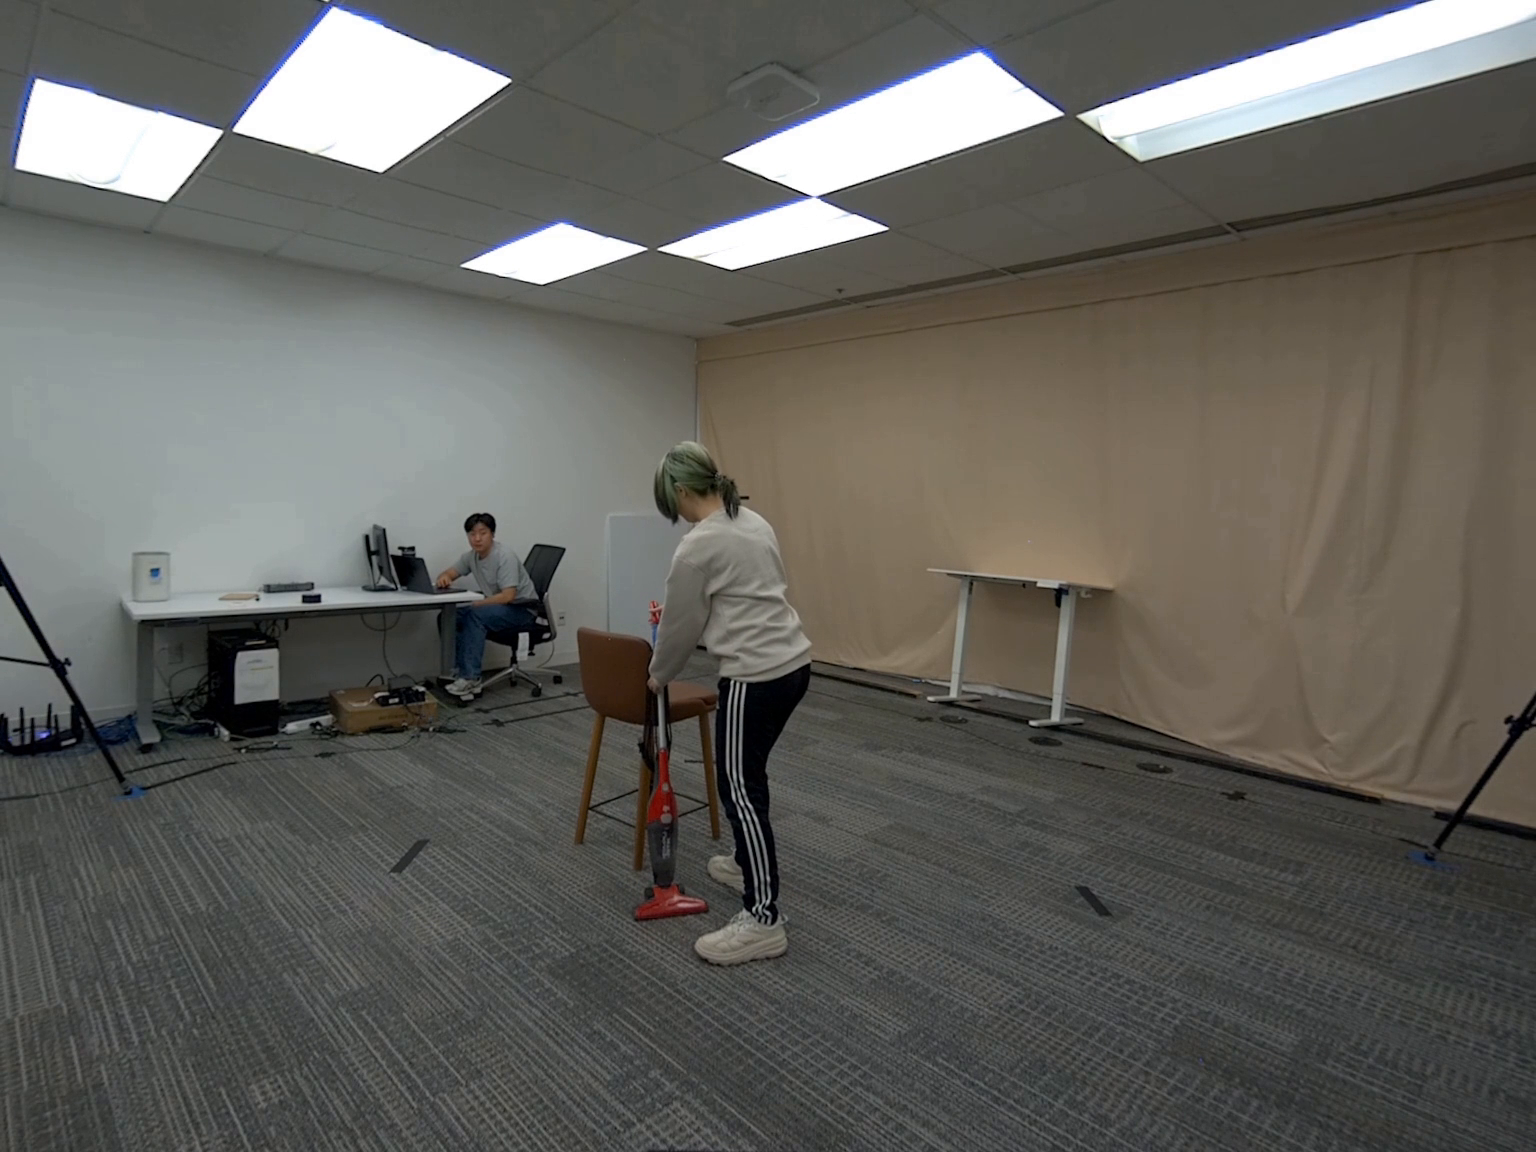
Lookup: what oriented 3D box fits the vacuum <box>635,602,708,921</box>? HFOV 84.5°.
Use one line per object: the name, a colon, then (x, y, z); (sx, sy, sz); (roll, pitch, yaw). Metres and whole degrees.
vacuum: (-0.385, 0.617, 2.995); (0.248, 1.063, 0.144); (2, -18, -23)
